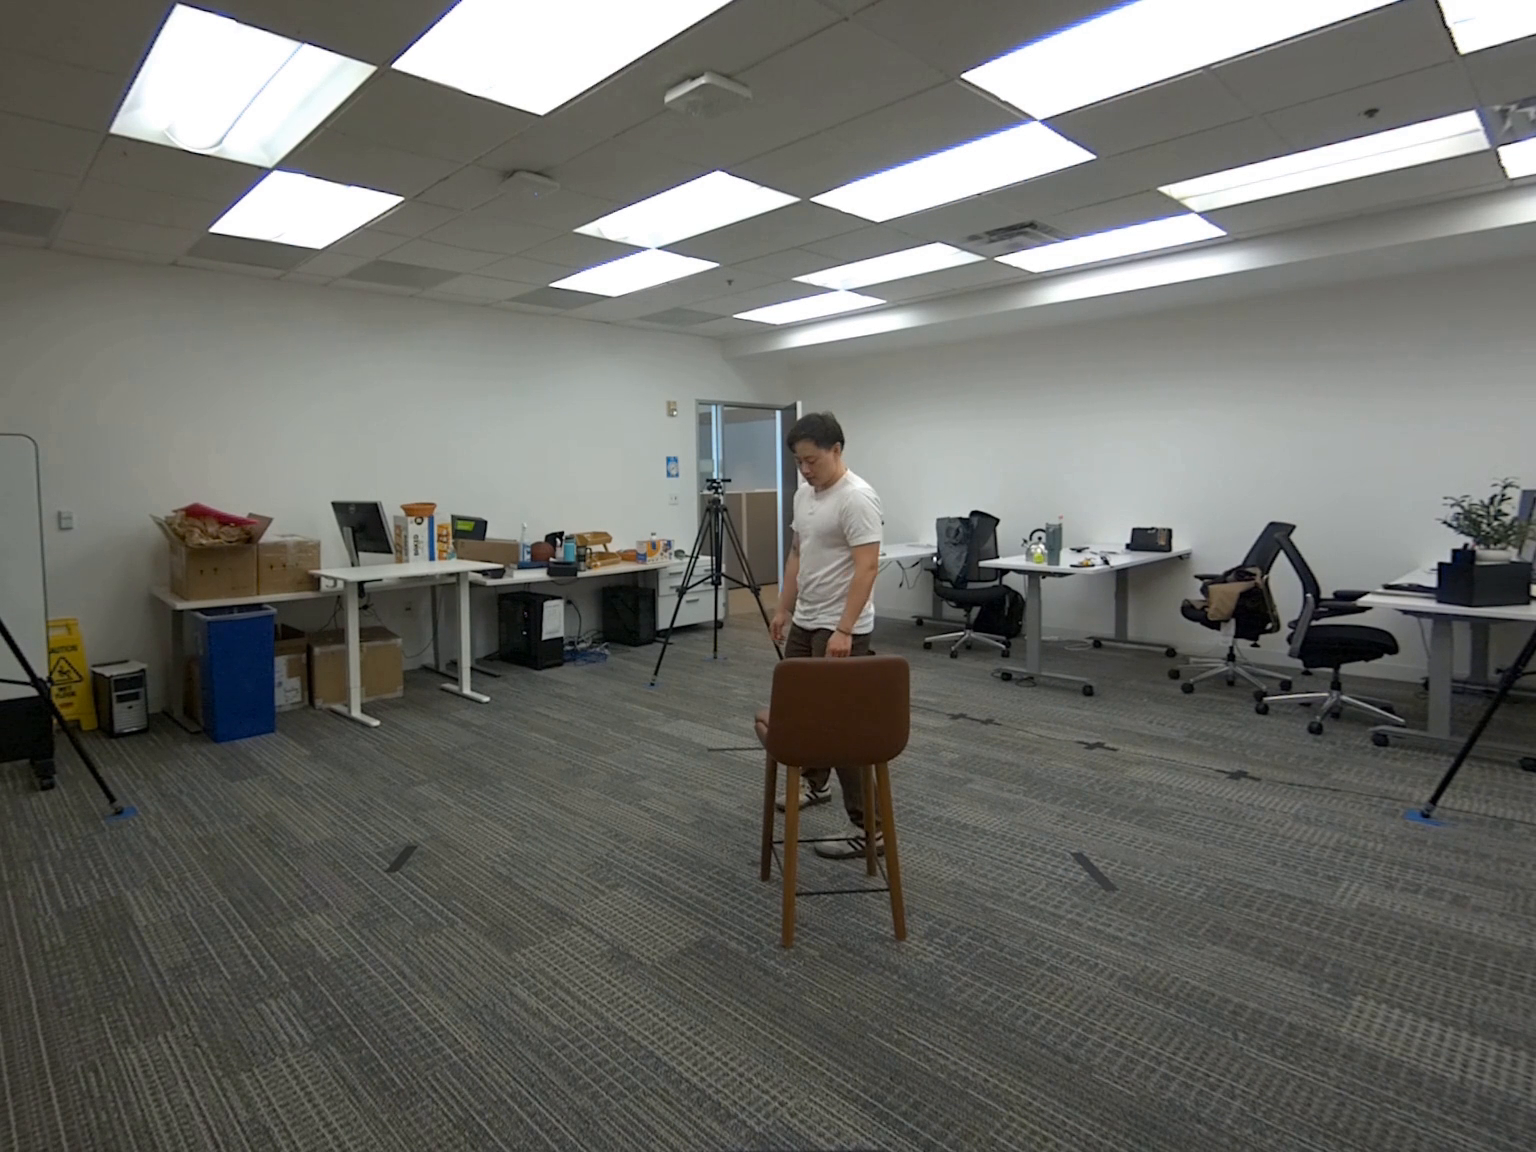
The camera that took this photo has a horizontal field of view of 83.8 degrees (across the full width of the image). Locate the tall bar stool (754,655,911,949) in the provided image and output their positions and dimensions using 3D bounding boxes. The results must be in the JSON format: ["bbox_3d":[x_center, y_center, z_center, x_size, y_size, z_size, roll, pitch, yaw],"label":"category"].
[{"bbox_3d":[0.196,0.650,2.747,0.454,0.885,0.472,-2,6,-6],"label":"tall bar stool"}]
